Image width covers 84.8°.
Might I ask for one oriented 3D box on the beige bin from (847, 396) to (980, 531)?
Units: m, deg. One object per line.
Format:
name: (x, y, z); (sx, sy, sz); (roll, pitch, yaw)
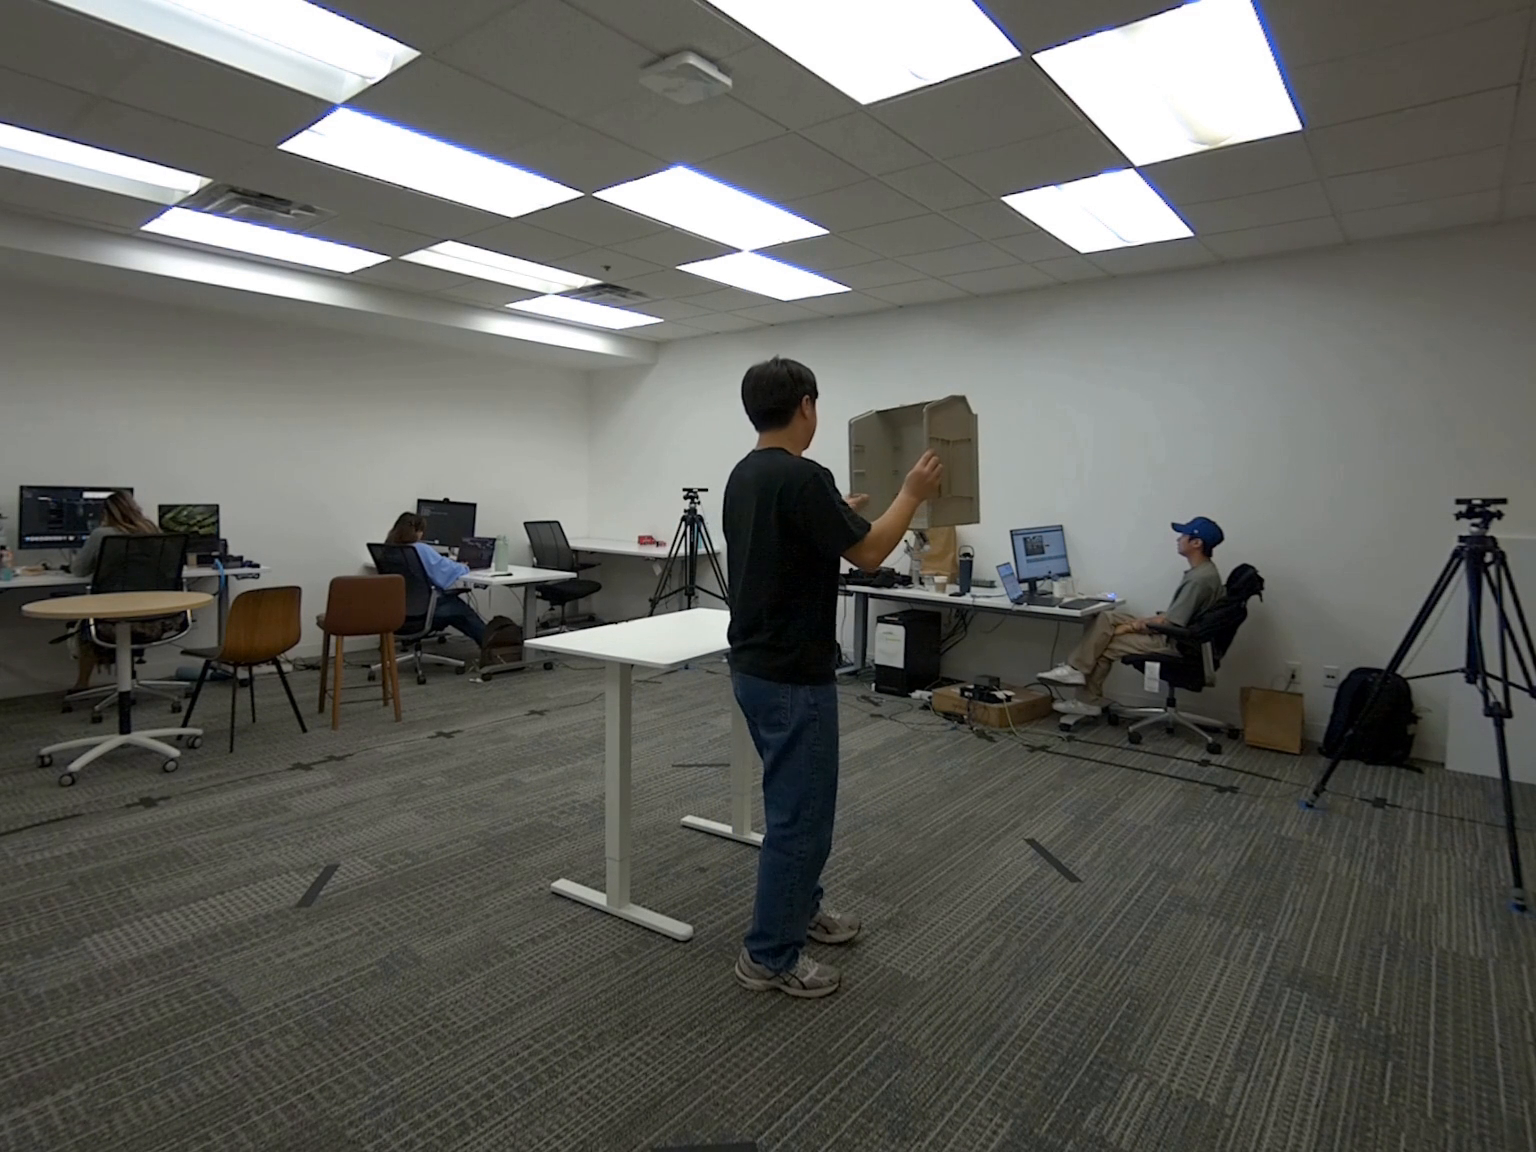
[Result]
beige bin: (0.411, -0.333, 2.570); (0.185, 0.376, 0.433); (-4, 4, -24)
